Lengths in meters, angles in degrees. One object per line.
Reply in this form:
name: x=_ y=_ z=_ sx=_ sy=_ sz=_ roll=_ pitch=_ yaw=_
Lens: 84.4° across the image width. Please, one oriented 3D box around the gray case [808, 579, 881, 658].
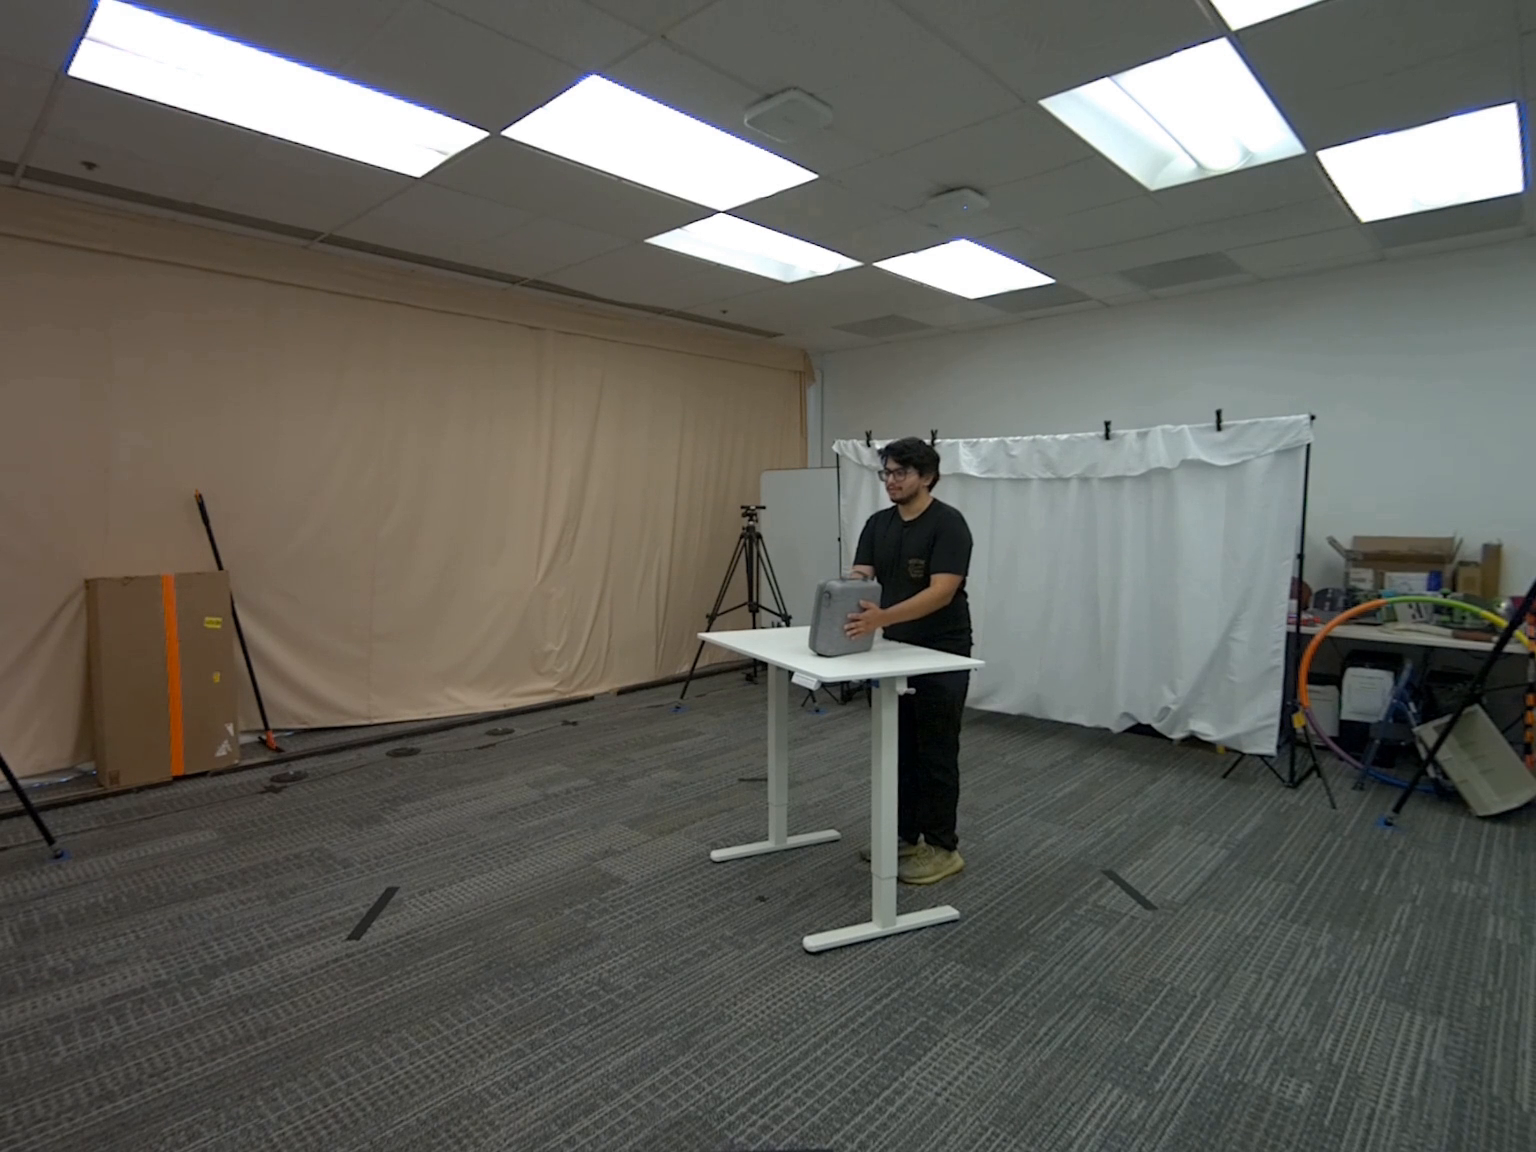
gray case: x=0.271 y=0.137 z=2.879 sx=0.249 sy=0.259 sz=0.108 roll=-1 pitch=13 yaw=-43
